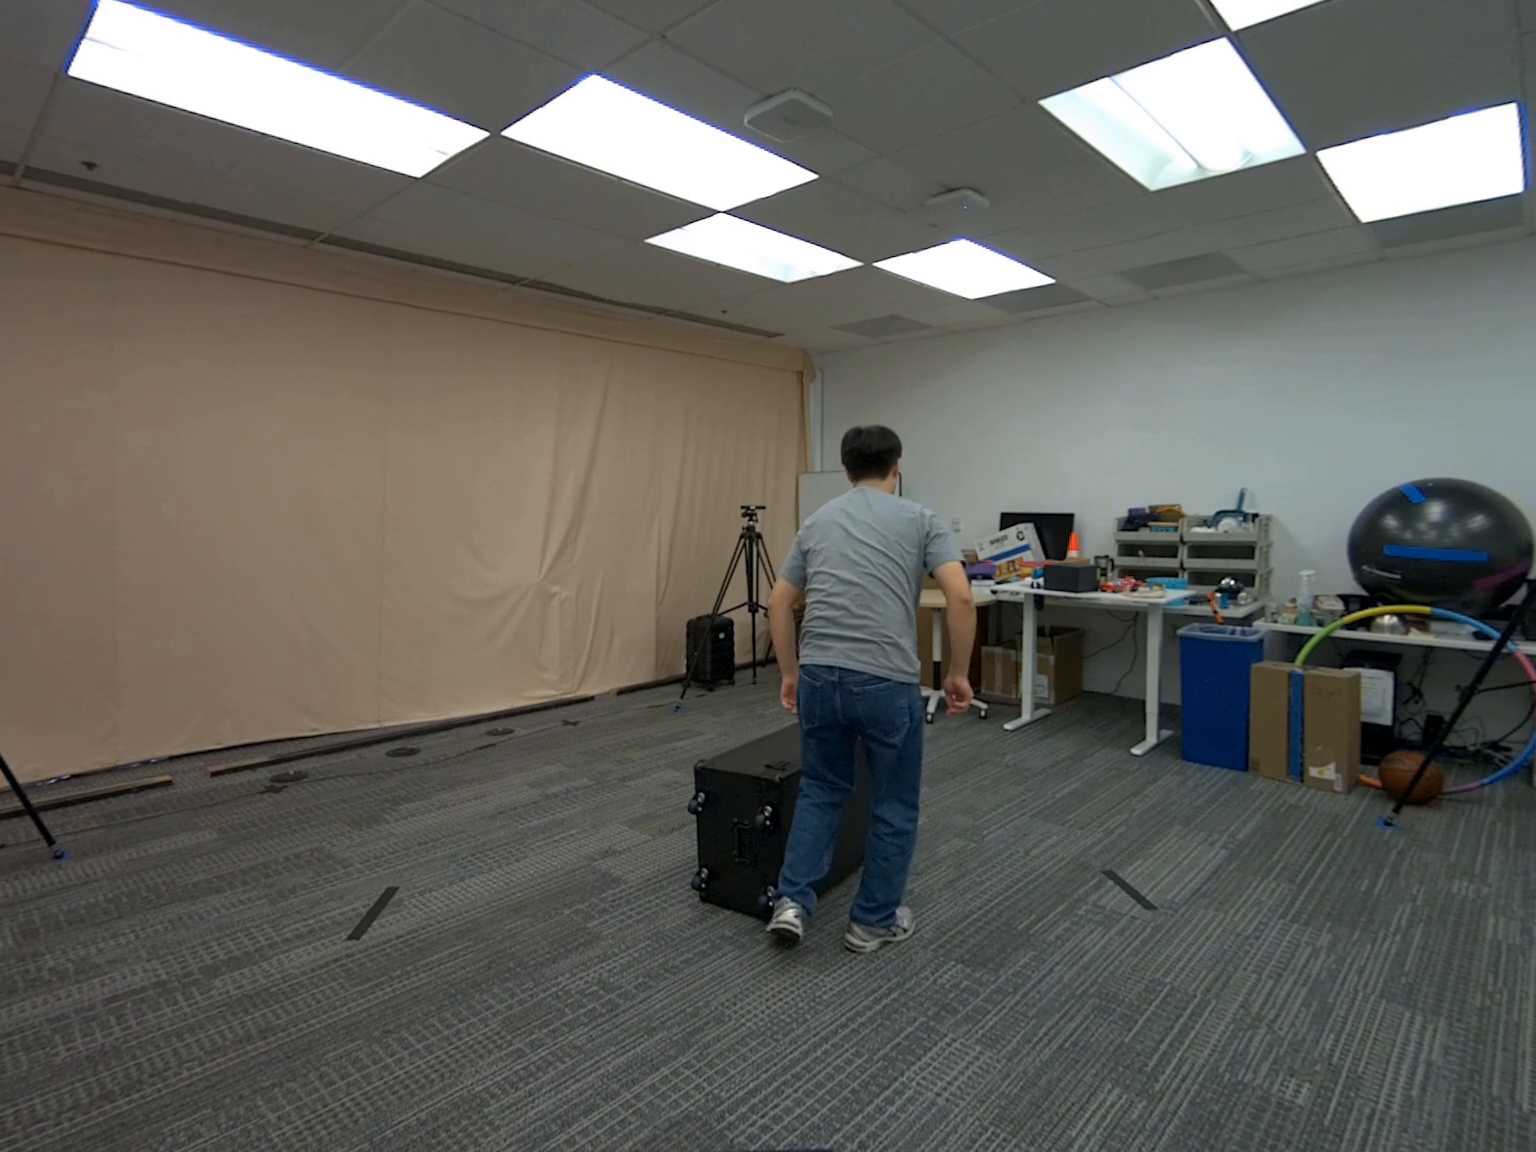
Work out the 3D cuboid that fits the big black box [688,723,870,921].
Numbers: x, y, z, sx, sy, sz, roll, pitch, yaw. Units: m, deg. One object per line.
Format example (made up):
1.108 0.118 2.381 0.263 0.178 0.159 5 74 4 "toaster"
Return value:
0.078 0.872 3.154 0.408 0.520 0.837 0 4 33 "big black box"
